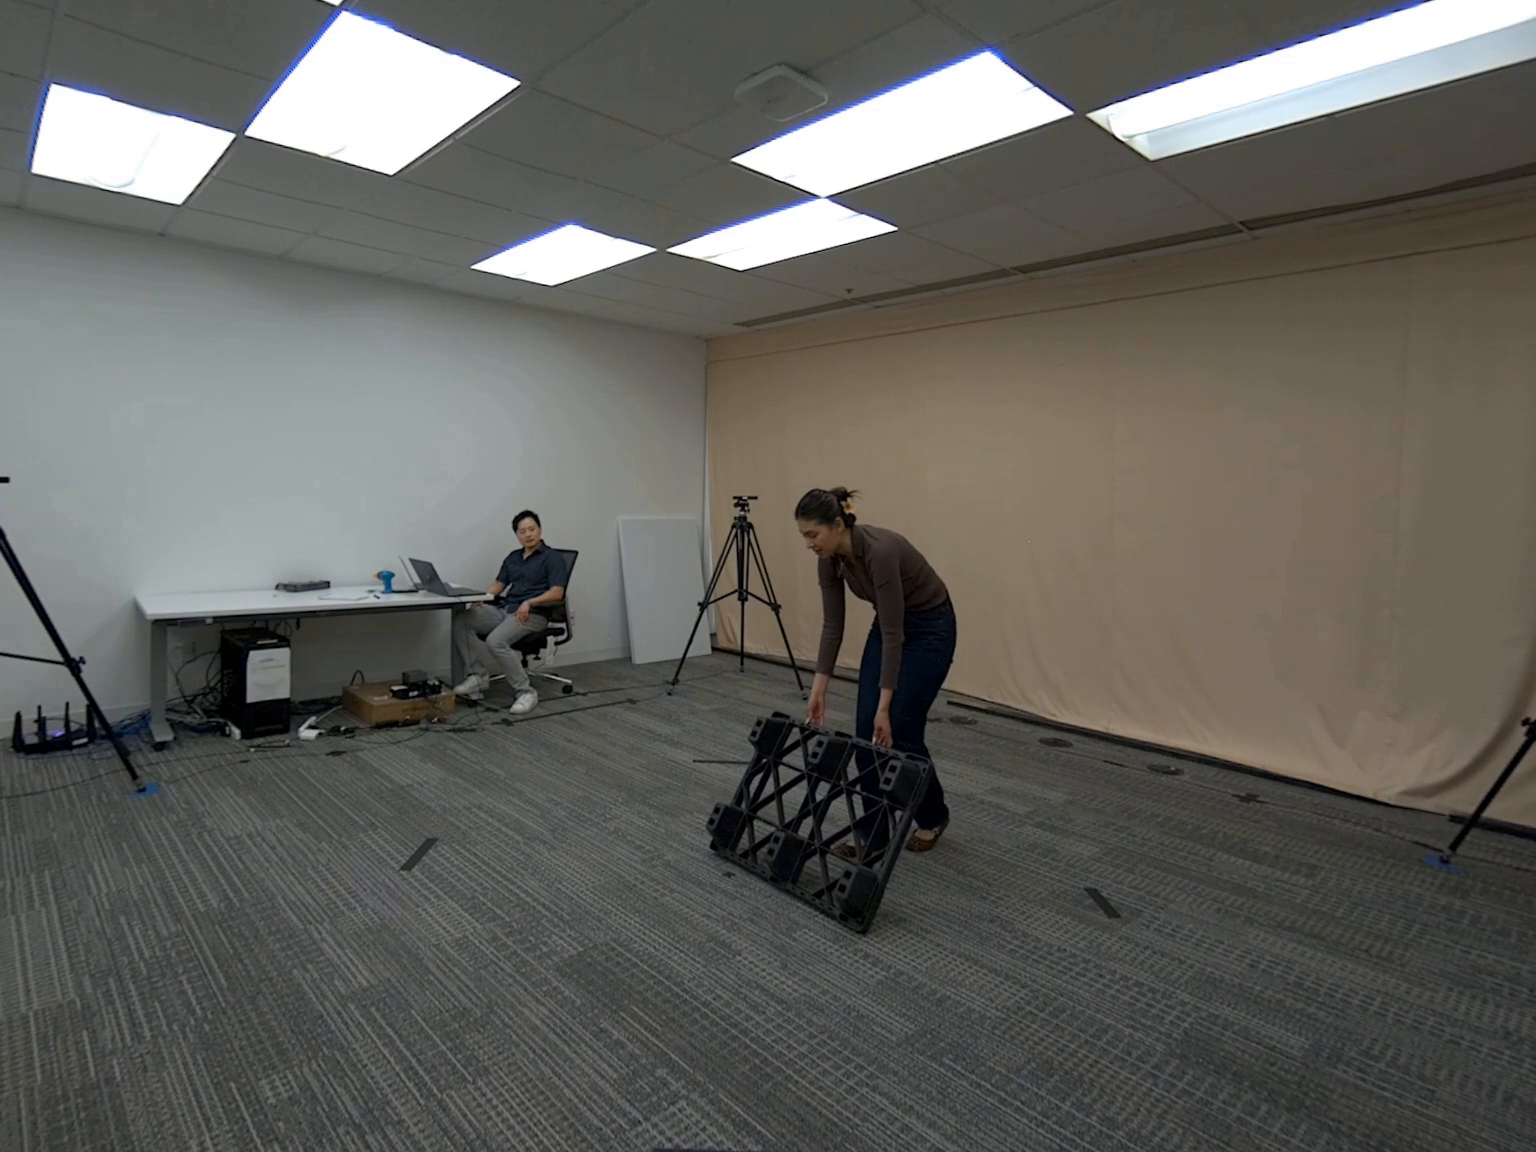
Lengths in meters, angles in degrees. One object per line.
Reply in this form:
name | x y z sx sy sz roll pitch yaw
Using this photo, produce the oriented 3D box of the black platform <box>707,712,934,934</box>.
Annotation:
black platform | 0.134 0.832 3.054 0.826 0.608 0.139 6 -27 49
